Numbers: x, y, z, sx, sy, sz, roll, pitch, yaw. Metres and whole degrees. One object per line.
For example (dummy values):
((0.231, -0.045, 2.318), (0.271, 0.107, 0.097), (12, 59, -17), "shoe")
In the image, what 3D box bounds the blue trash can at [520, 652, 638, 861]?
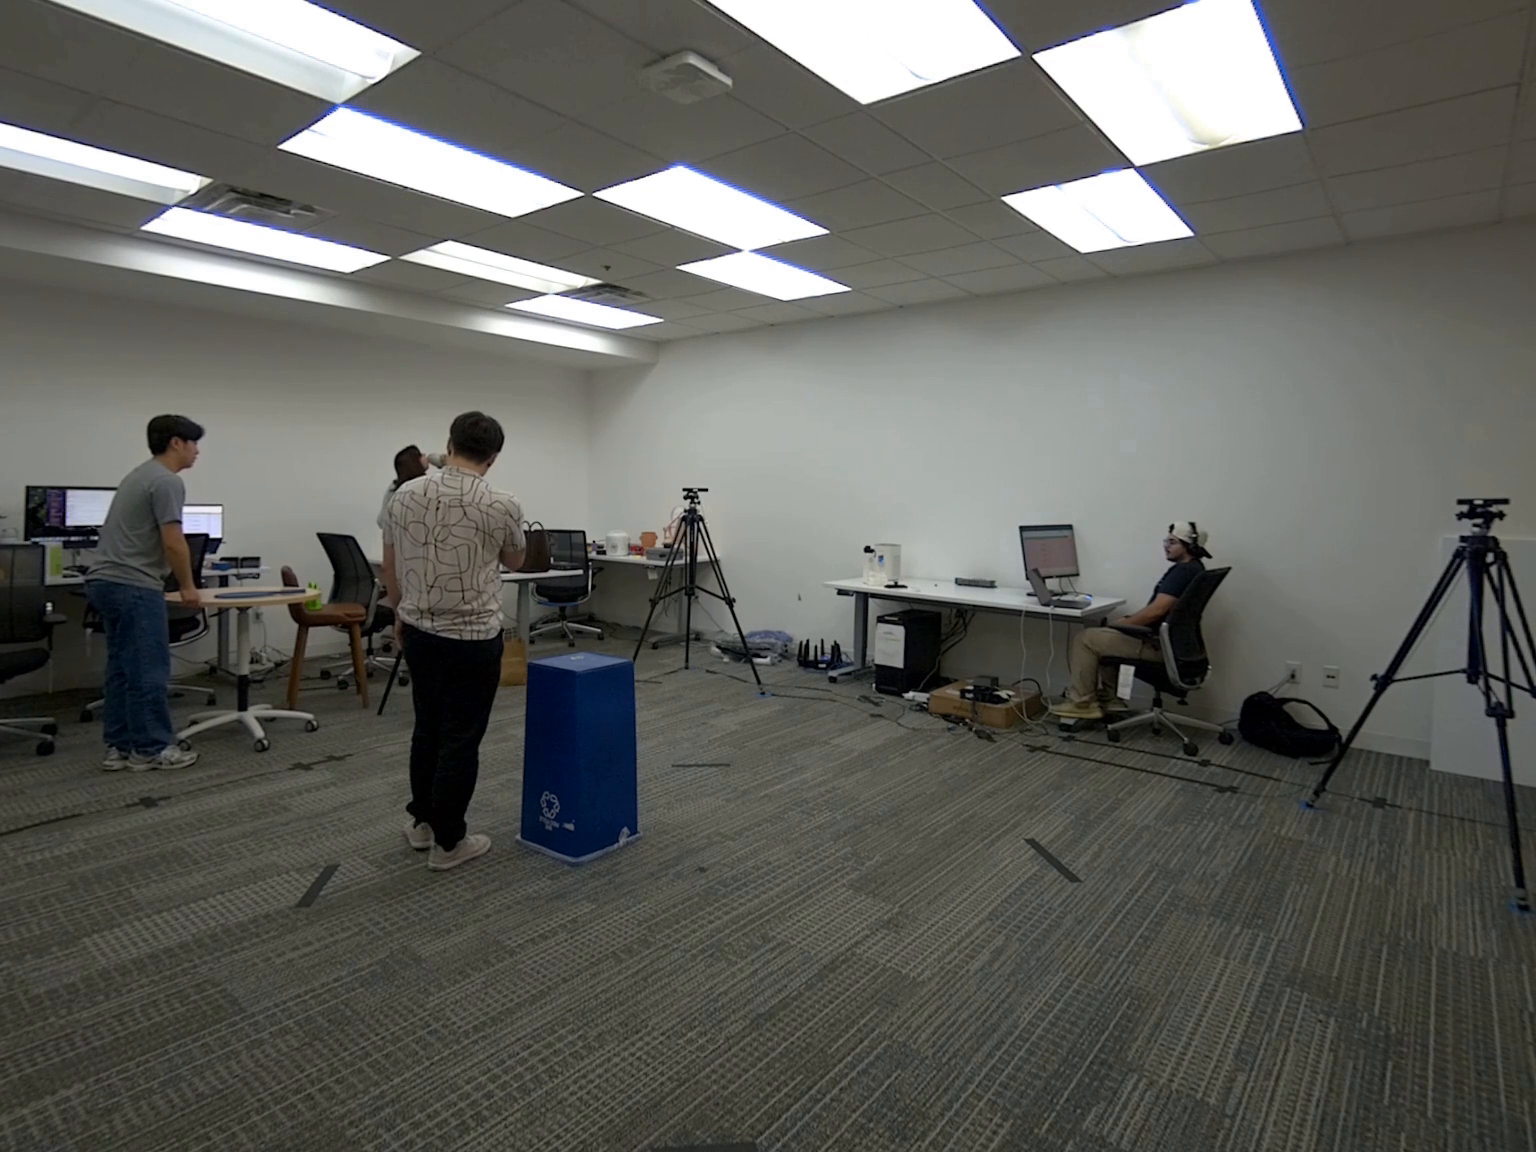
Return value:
((-0.750, 0.685, 3.349), (0.386, 0.712, 0.367), (3, 2, 36), "blue trash can")
